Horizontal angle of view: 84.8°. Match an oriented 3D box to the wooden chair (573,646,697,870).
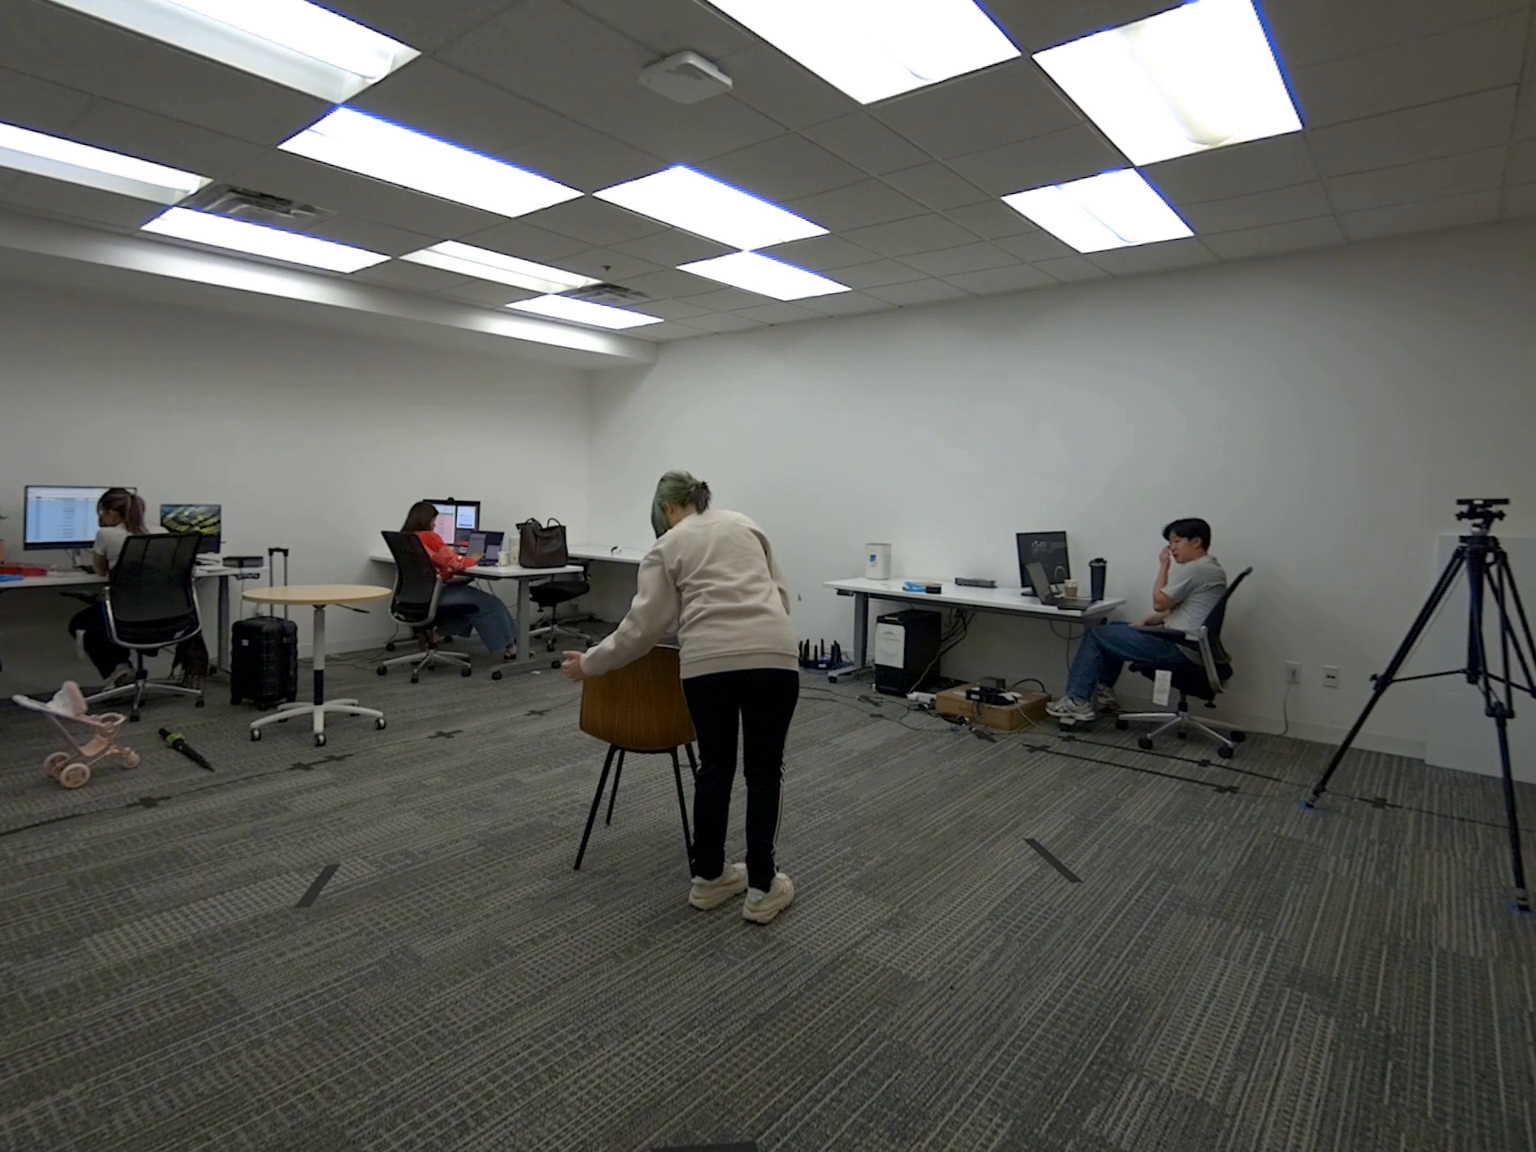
[{"bbox_3d":[-0.470,0.623,3.256,0.482,0.872,0.522,1,7,7],"label":"wooden chair"}]
